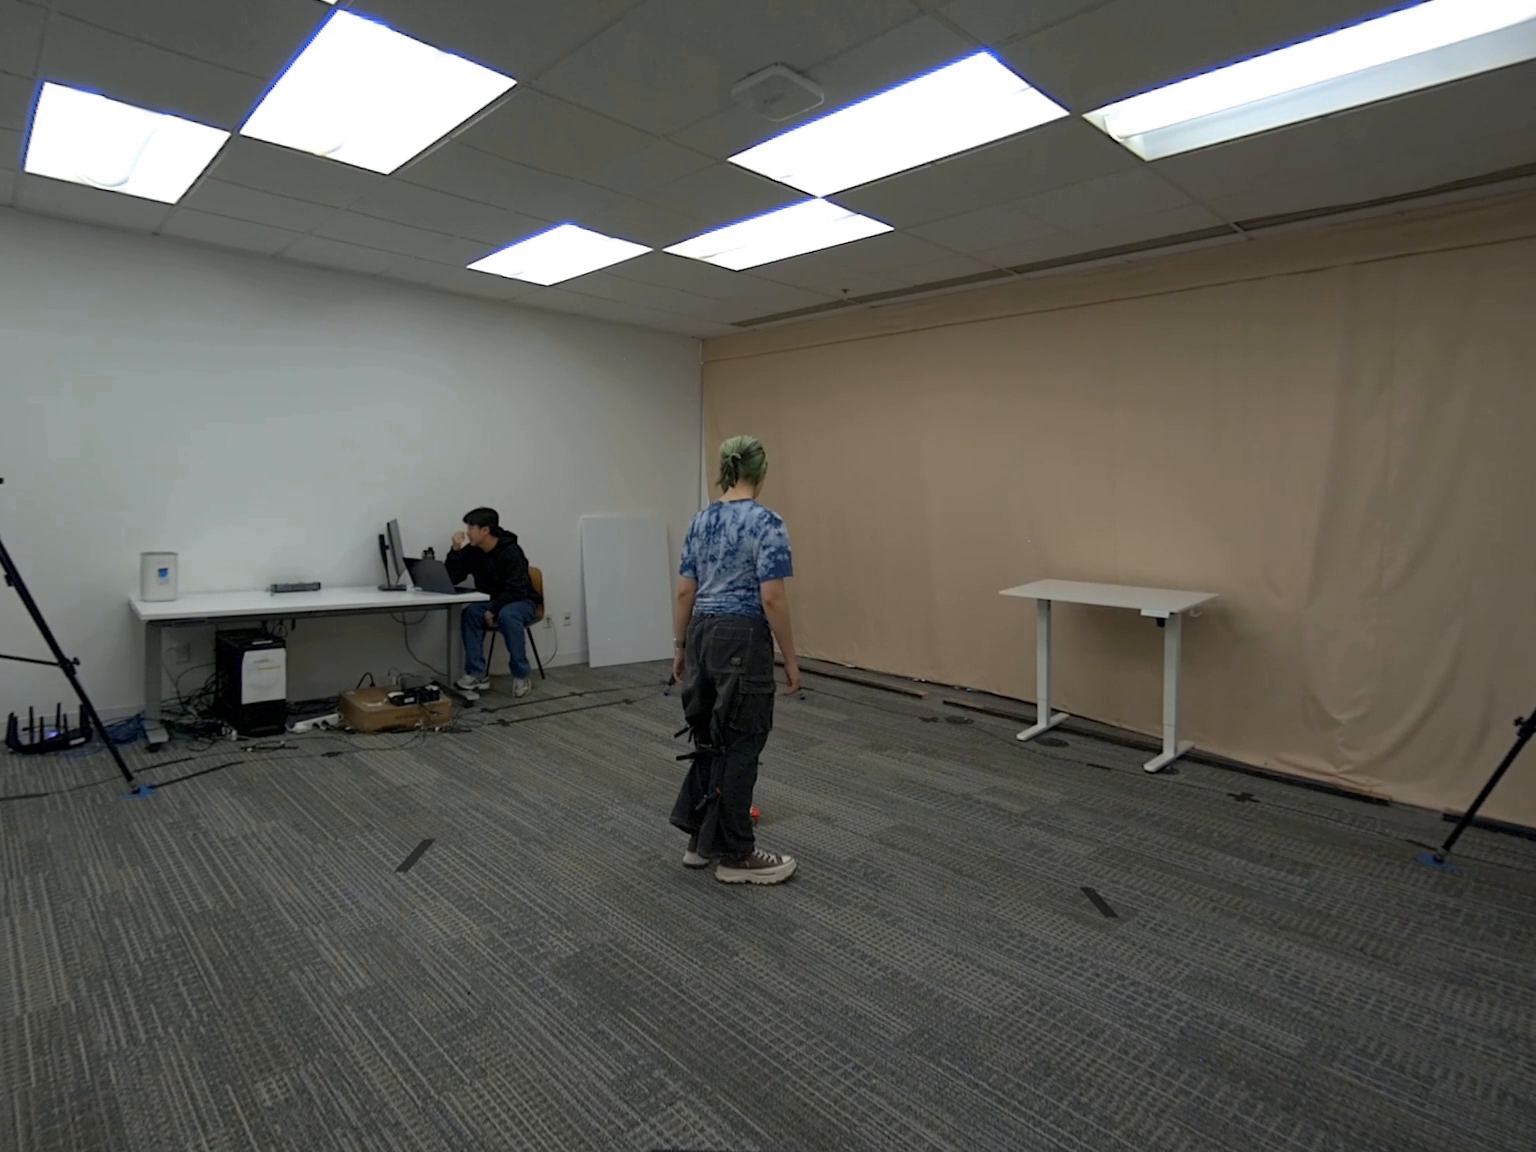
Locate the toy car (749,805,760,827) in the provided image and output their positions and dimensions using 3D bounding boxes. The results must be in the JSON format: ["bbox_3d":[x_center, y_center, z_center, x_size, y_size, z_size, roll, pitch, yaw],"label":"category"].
[{"bbox_3d":[-0.176,1.028,3.634,0.254,0.083,0.131,13,5,-2],"label":"toy car"}]
